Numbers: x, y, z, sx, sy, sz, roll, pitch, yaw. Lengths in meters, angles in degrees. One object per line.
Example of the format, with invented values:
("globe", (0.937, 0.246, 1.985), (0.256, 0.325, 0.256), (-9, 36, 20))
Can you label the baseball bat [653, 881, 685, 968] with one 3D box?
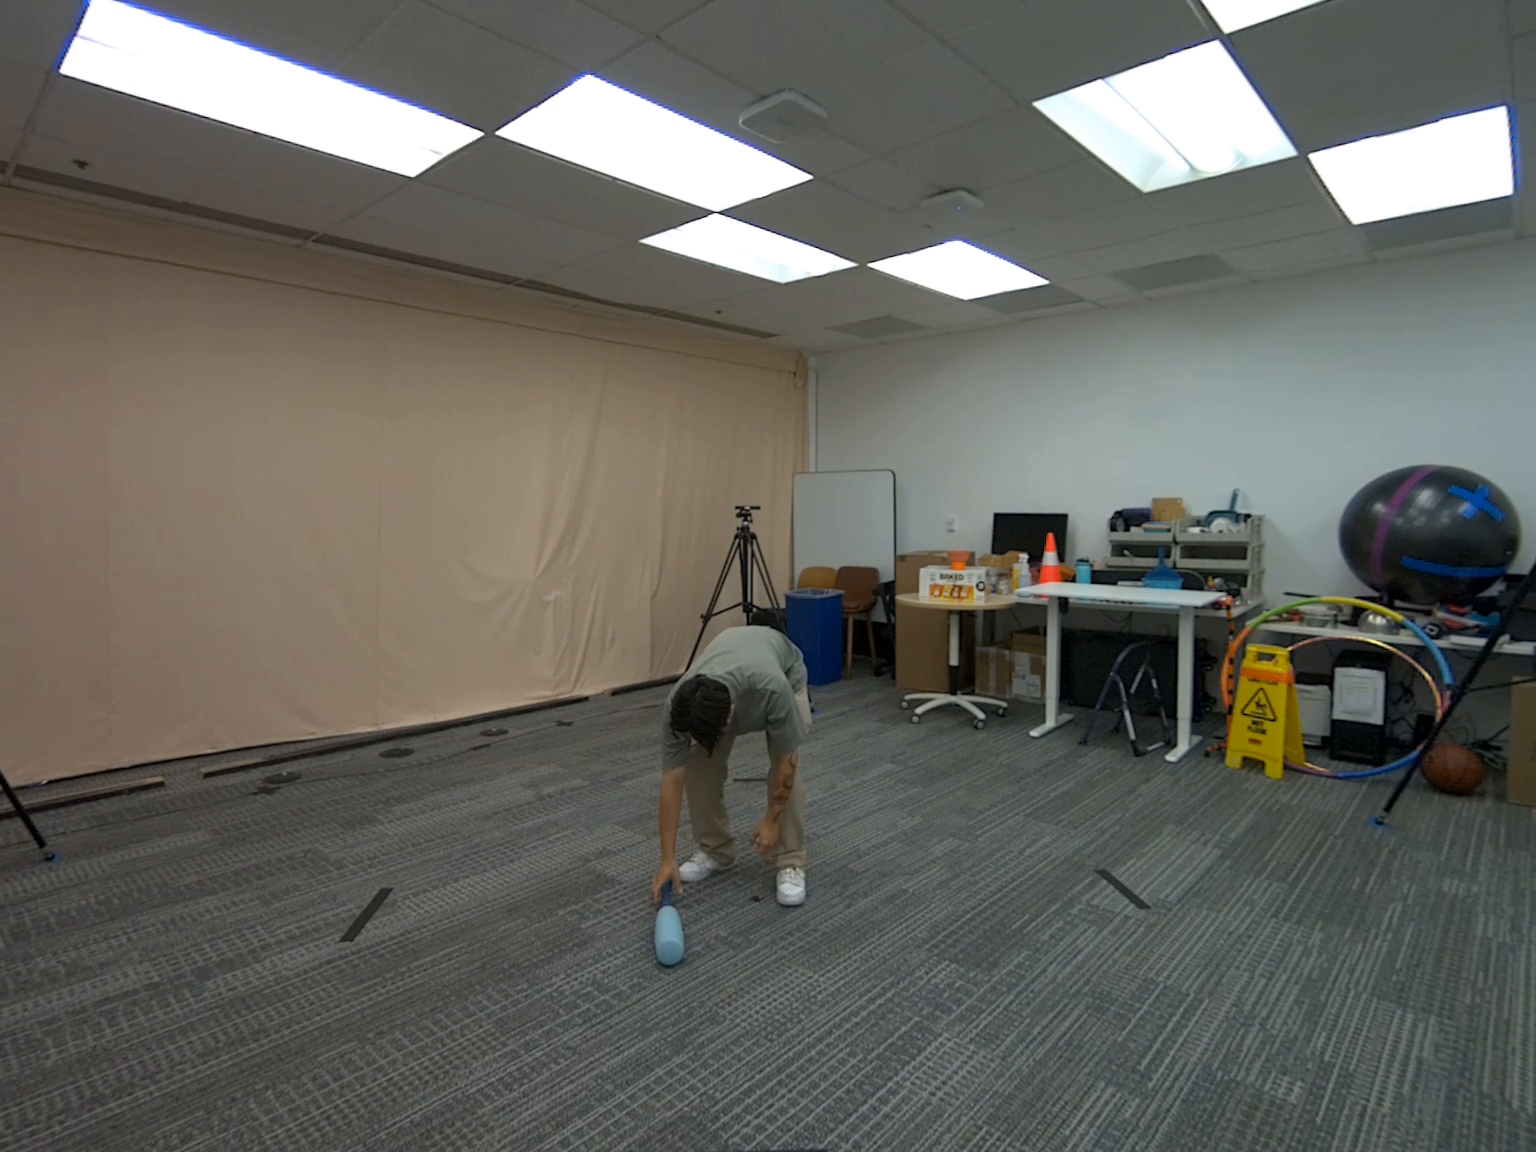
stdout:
("baseball bat", (-0.334, 1.120, 2.798), (0.088, 0.089, 0.547), (0, 3, -8))
